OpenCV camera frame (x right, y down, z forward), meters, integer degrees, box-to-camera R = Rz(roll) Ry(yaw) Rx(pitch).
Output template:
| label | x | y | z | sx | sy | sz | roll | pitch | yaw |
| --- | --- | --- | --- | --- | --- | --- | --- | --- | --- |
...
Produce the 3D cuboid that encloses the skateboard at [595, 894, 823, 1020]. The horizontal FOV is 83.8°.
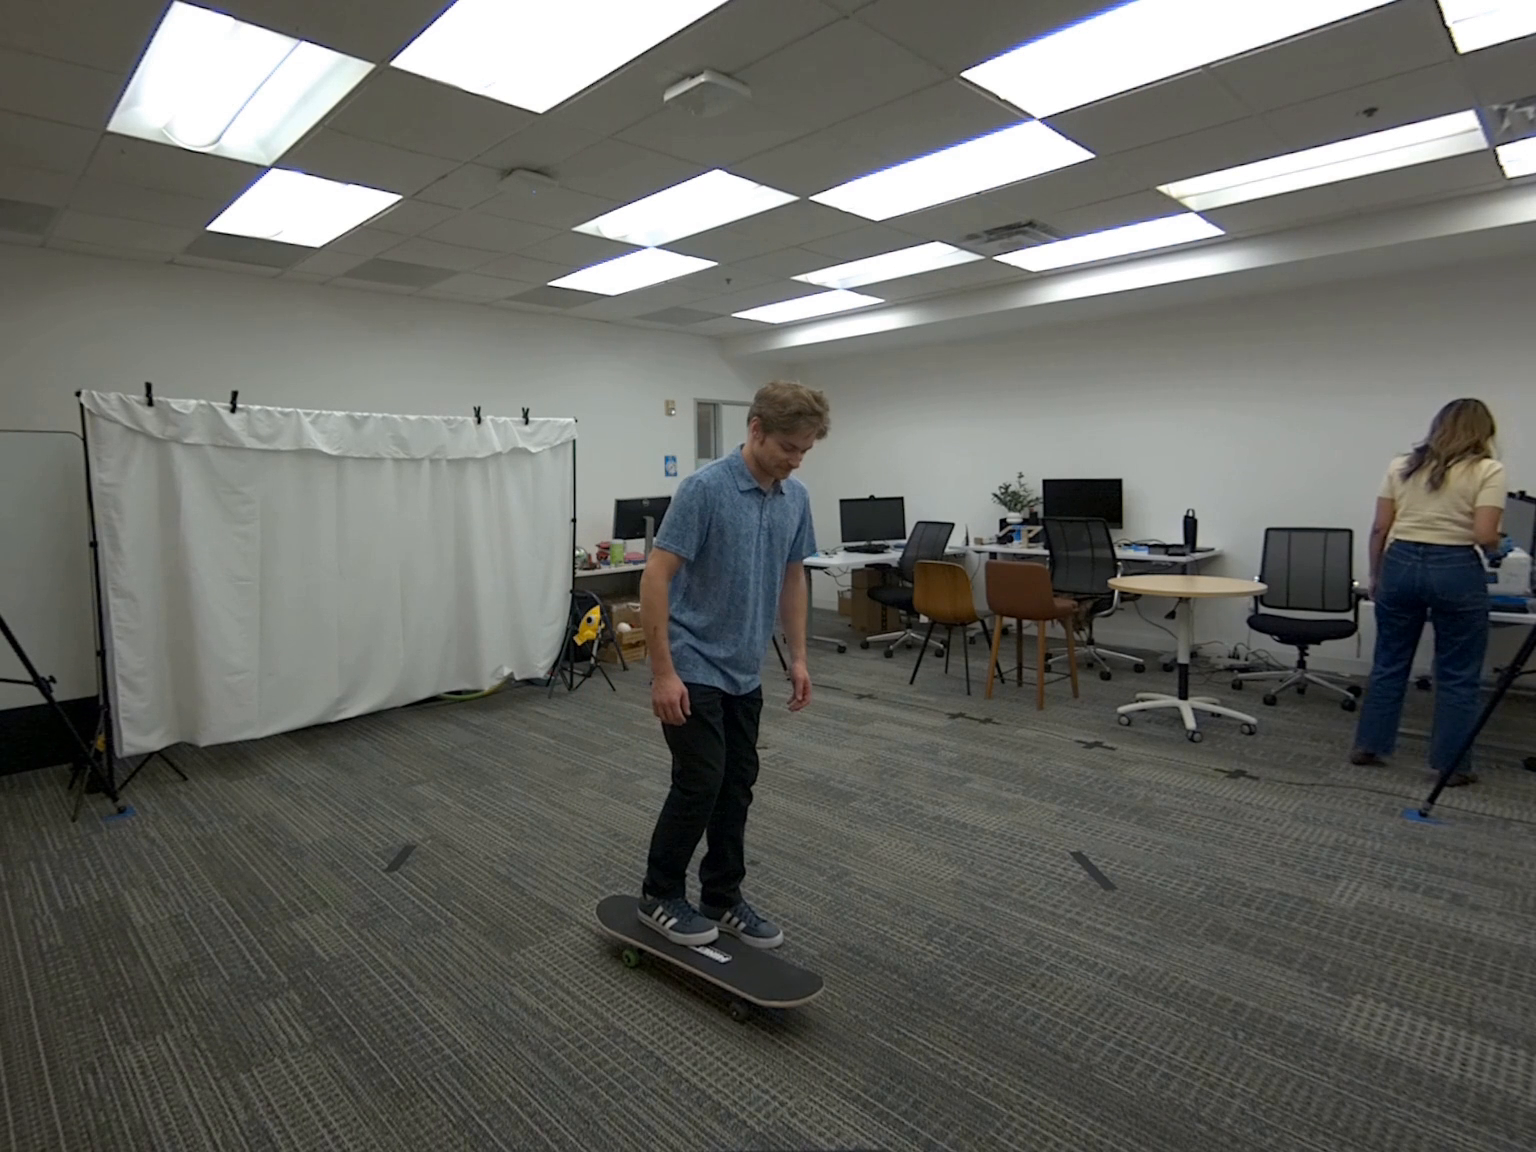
| label | x | y | z | sx | sy | sz | roll | pitch | yaw |
| --- | --- | --- | --- | --- | --- | --- | --- | --- | --- |
| skateboard | -0.180 | 1.072 | 2.394 | 0.809 | 0.110 | 0.188 | 4 | 7 | 38 |
